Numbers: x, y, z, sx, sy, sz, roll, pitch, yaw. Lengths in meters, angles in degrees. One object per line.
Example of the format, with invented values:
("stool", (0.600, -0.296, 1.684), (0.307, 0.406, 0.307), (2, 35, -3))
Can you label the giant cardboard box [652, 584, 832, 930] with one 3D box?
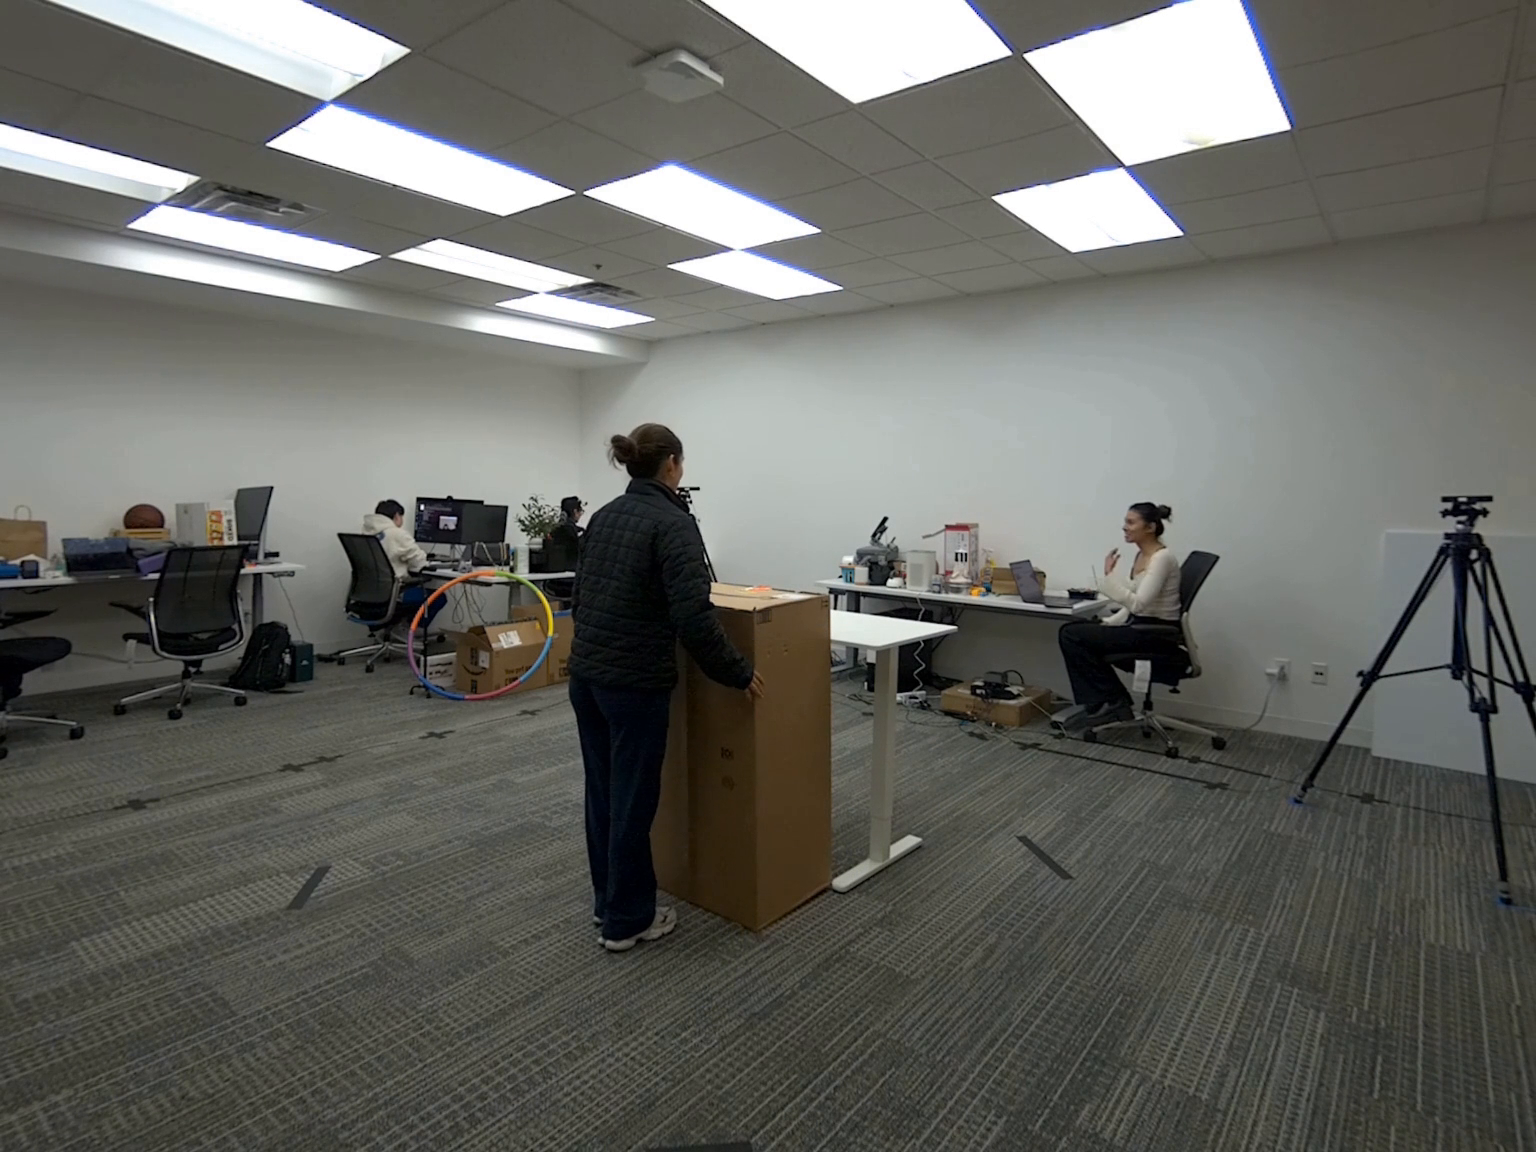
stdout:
("giant cardboard box", (-0.118, 0.564, 2.980), (0.603, 1.023, 0.434), (3, 5, 42))
